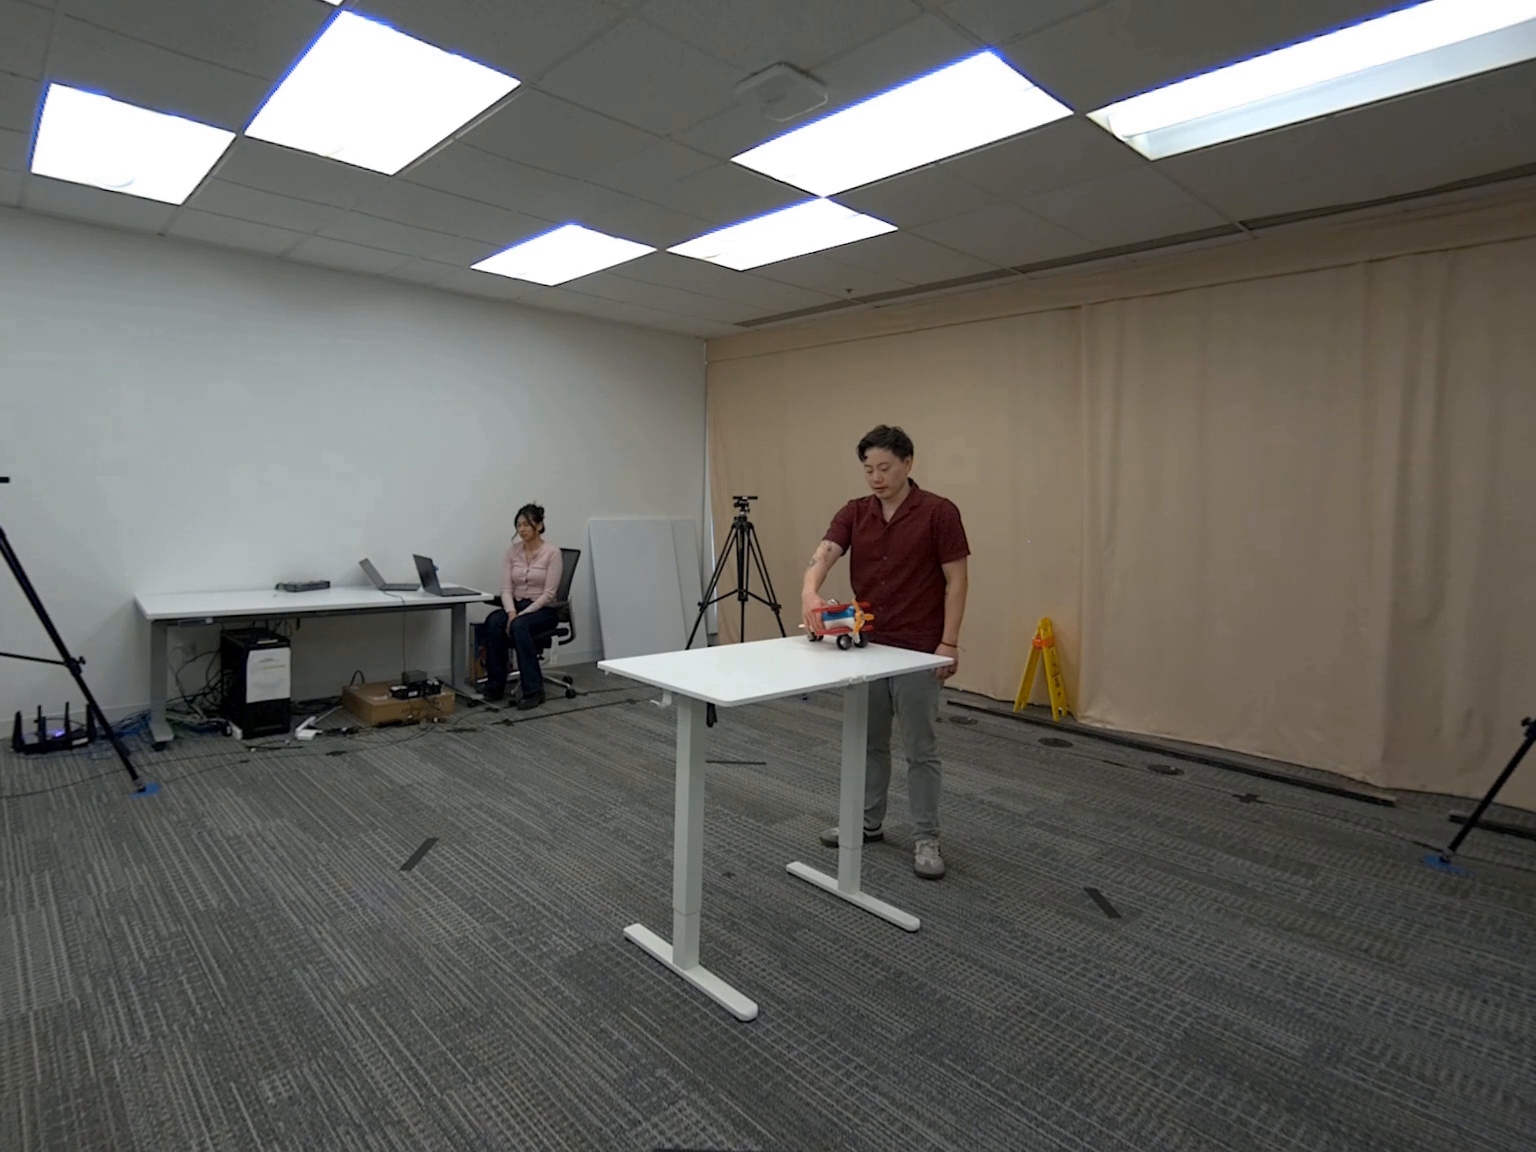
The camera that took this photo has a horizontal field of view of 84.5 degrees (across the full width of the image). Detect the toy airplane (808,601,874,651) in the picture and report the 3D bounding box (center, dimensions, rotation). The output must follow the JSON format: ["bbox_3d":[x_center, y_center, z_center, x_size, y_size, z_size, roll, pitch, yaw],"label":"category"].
[{"bbox_3d":[0.212,0.166,2.944,0.264,0.156,0.247,6,5,20],"label":"toy airplane"}]
